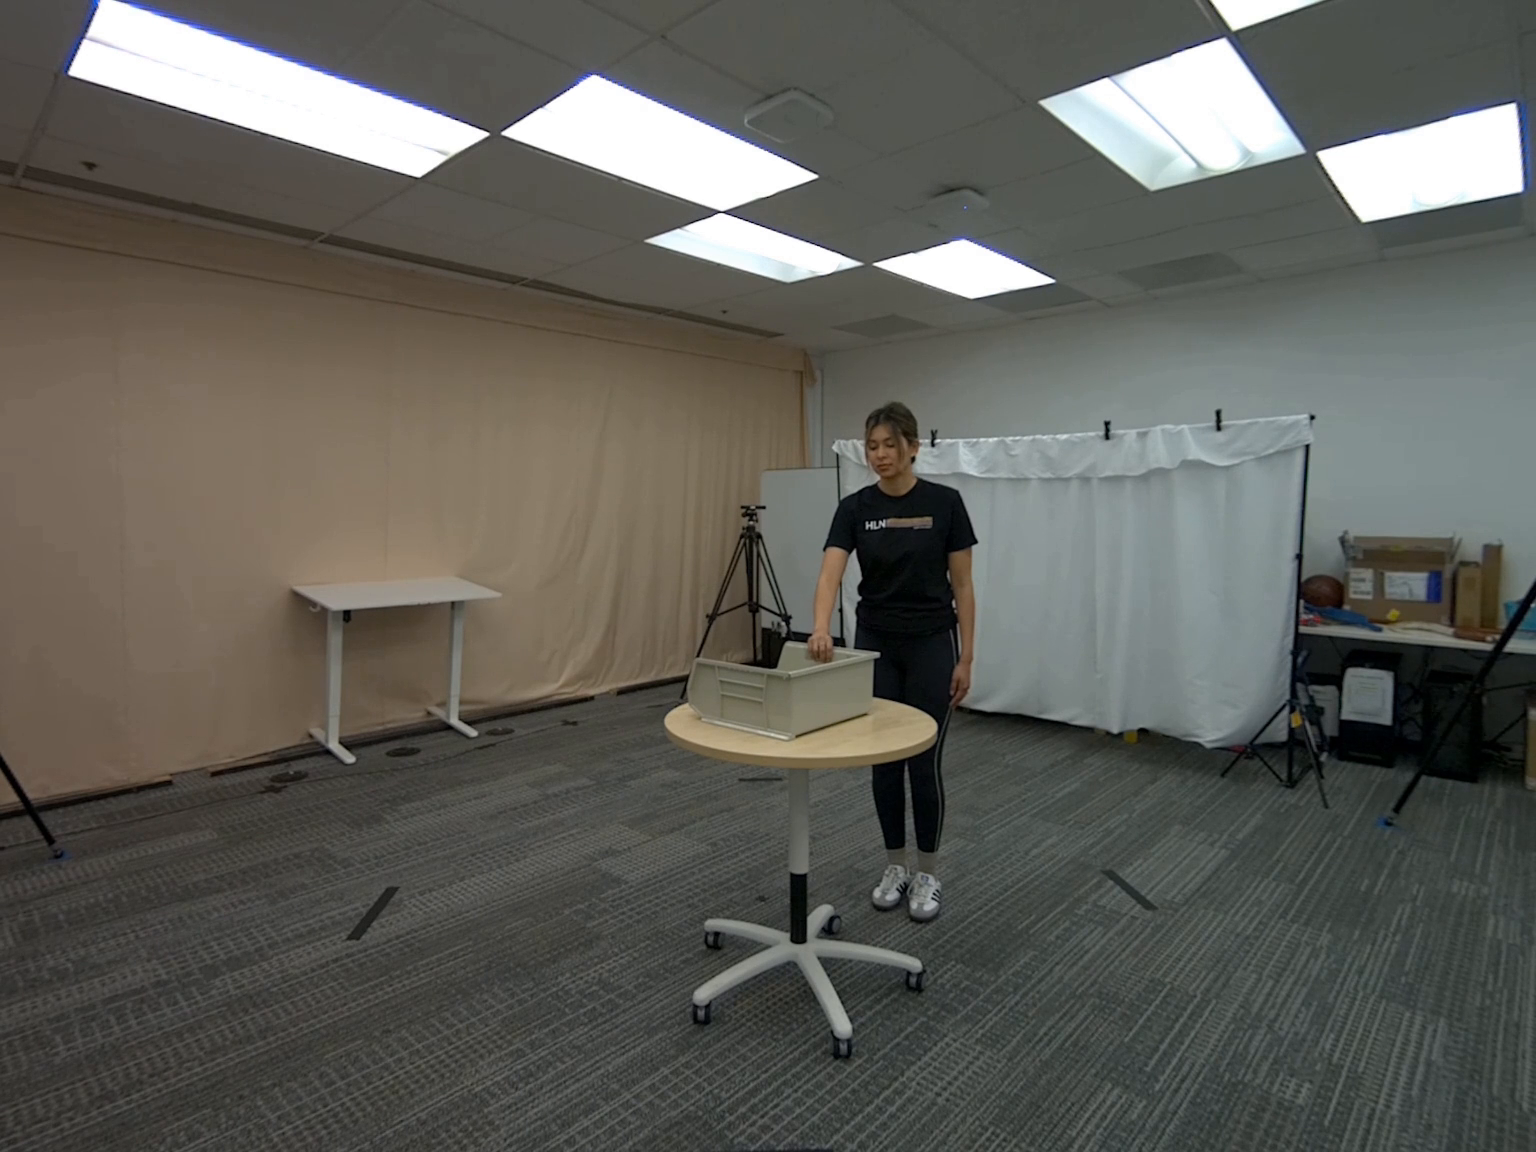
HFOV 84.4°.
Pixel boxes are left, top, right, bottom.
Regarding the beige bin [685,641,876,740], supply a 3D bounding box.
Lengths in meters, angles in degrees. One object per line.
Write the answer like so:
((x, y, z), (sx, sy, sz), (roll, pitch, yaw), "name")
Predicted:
((0.050, 0.317, 2.424), (0.390, 0.188, 0.409), (5, 6, 41), "beige bin")
